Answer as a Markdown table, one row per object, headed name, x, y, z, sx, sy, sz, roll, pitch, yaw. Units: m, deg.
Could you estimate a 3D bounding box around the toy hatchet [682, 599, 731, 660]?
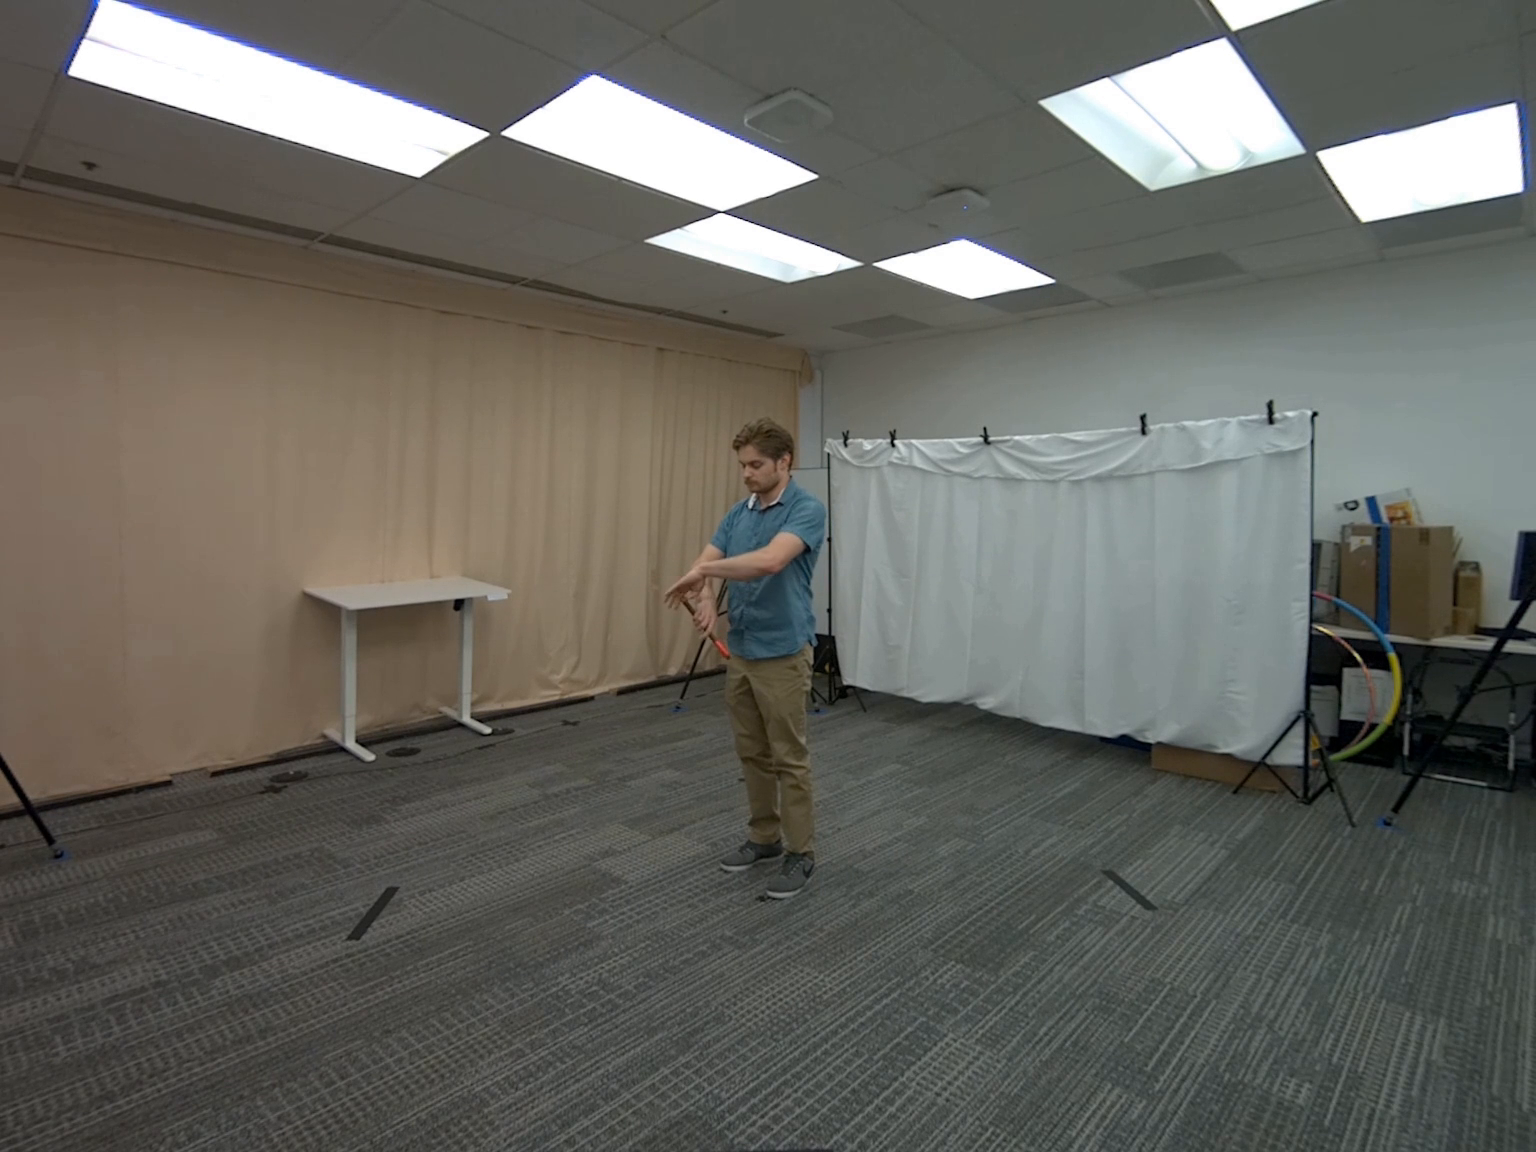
| name | x | y | z | sx | sy | sz | roll | pitch | yaw |
| --- | --- | --- | --- | --- | --- | --- | --- | --- | --- |
| toy hatchet | -0.202 | 0.190 | 2.926 | 0.029 | 0.264 | 0.134 | -40 | 19 | -6 |
